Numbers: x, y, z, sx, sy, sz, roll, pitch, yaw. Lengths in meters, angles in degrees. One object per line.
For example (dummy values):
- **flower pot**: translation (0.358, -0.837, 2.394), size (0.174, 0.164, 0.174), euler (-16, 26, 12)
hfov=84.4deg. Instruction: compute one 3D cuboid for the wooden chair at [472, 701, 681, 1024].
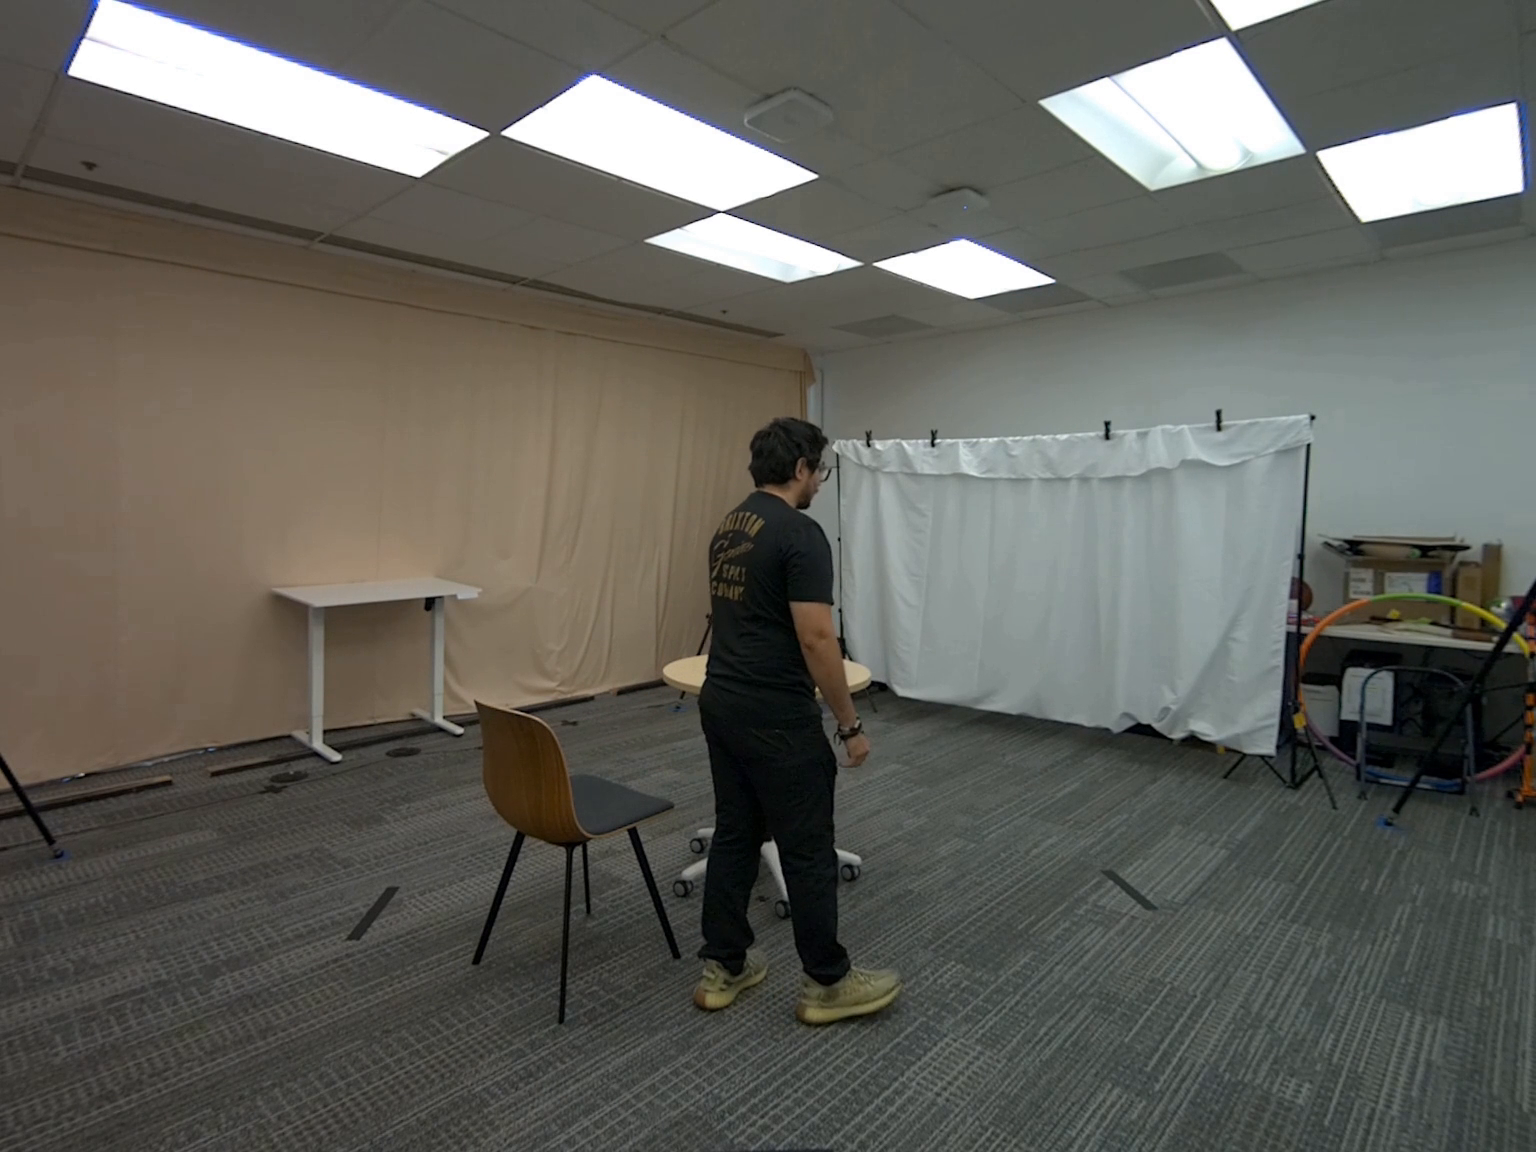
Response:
- **wooden chair**: translation (-0.583, 0.755, 2.558), size (0.494, 0.874, 0.508), euler (2, 8, 41)
